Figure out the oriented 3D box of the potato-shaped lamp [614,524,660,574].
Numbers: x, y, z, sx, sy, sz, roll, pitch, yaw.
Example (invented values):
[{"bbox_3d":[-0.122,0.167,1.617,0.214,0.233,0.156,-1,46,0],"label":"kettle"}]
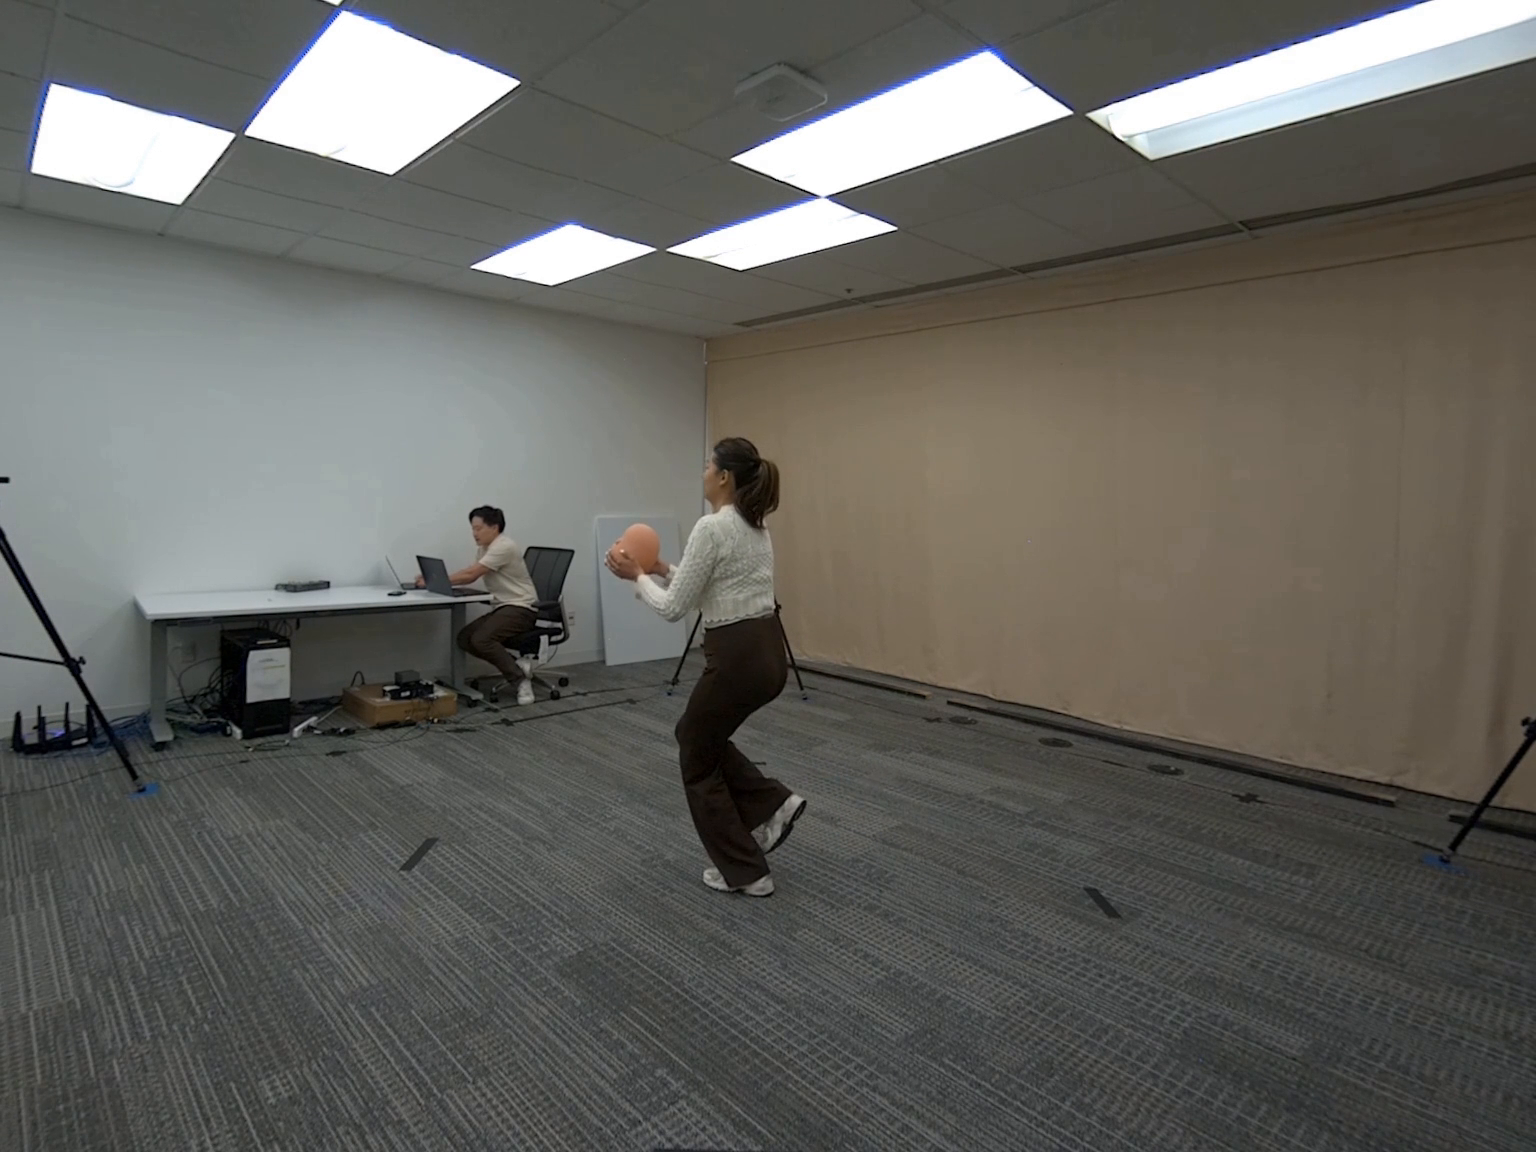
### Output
[{"bbox_3d":[-0.489,-0.119,3.099,0.170,0.198,0.166,23,2,-10],"label":"potato-shaped lamp"}]
